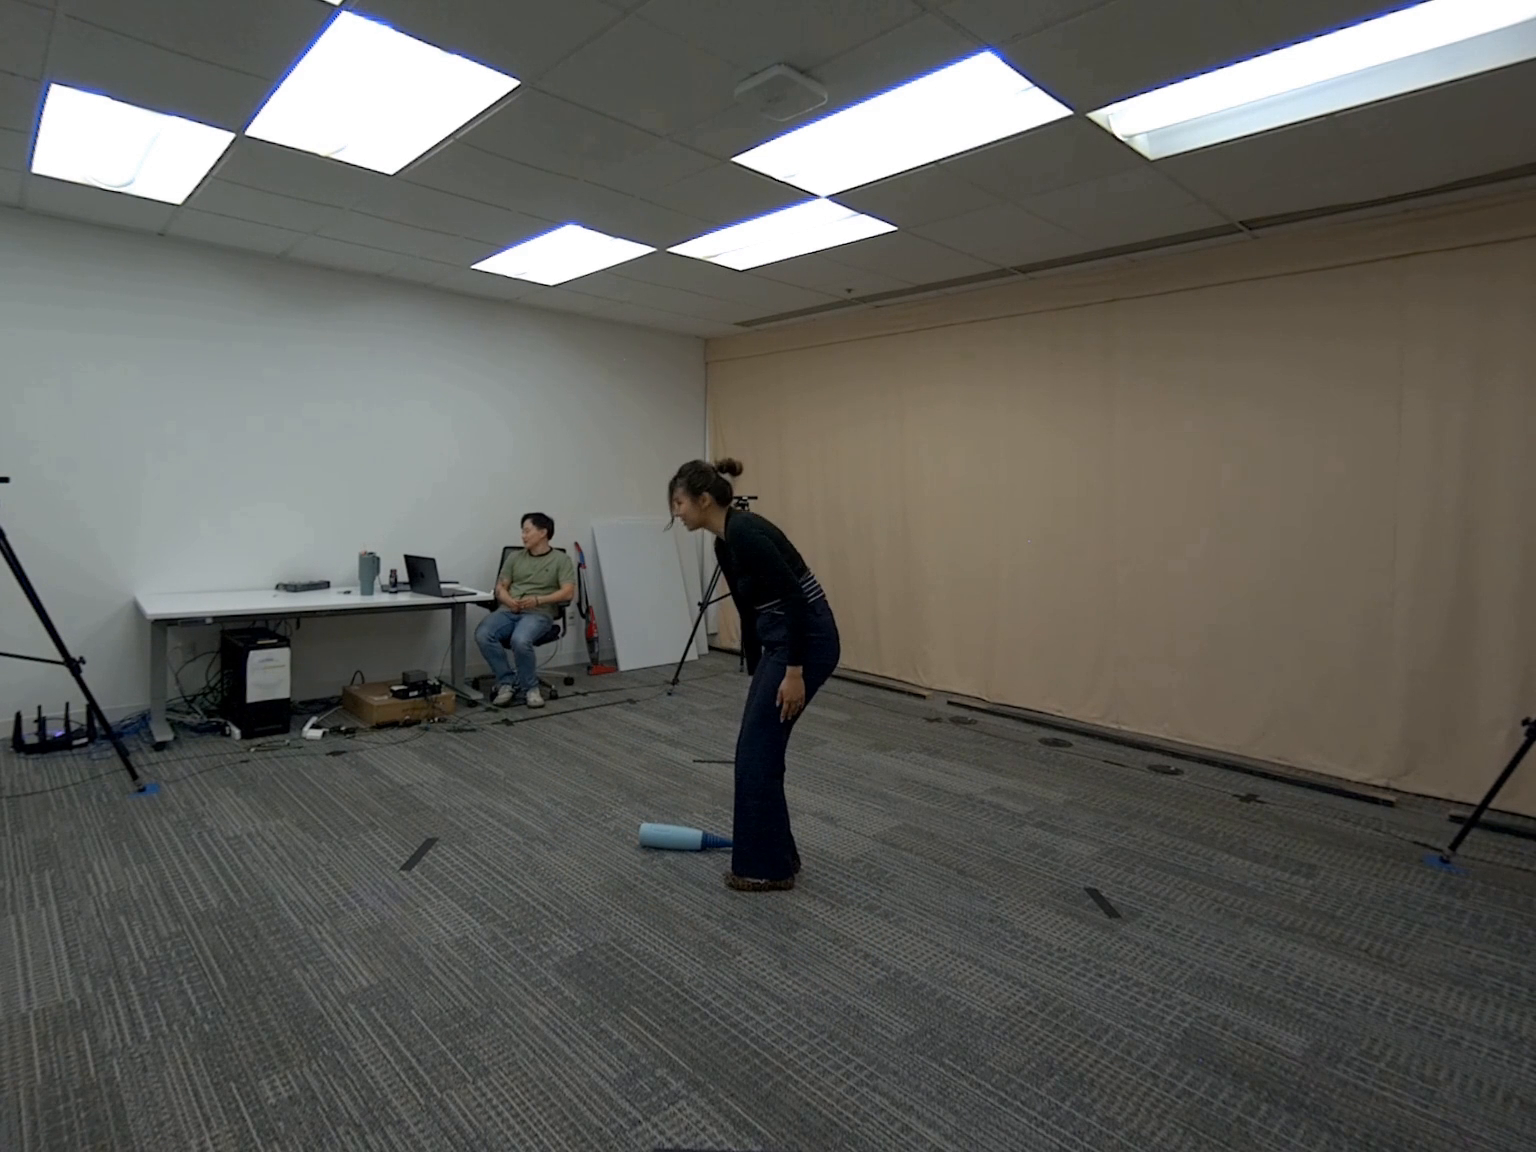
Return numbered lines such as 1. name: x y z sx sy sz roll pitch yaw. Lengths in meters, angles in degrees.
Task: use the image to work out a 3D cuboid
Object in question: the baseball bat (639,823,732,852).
1. baseball bat: -0.249 1.049 3.317 0.544 0.089 0.089 5 4 2
